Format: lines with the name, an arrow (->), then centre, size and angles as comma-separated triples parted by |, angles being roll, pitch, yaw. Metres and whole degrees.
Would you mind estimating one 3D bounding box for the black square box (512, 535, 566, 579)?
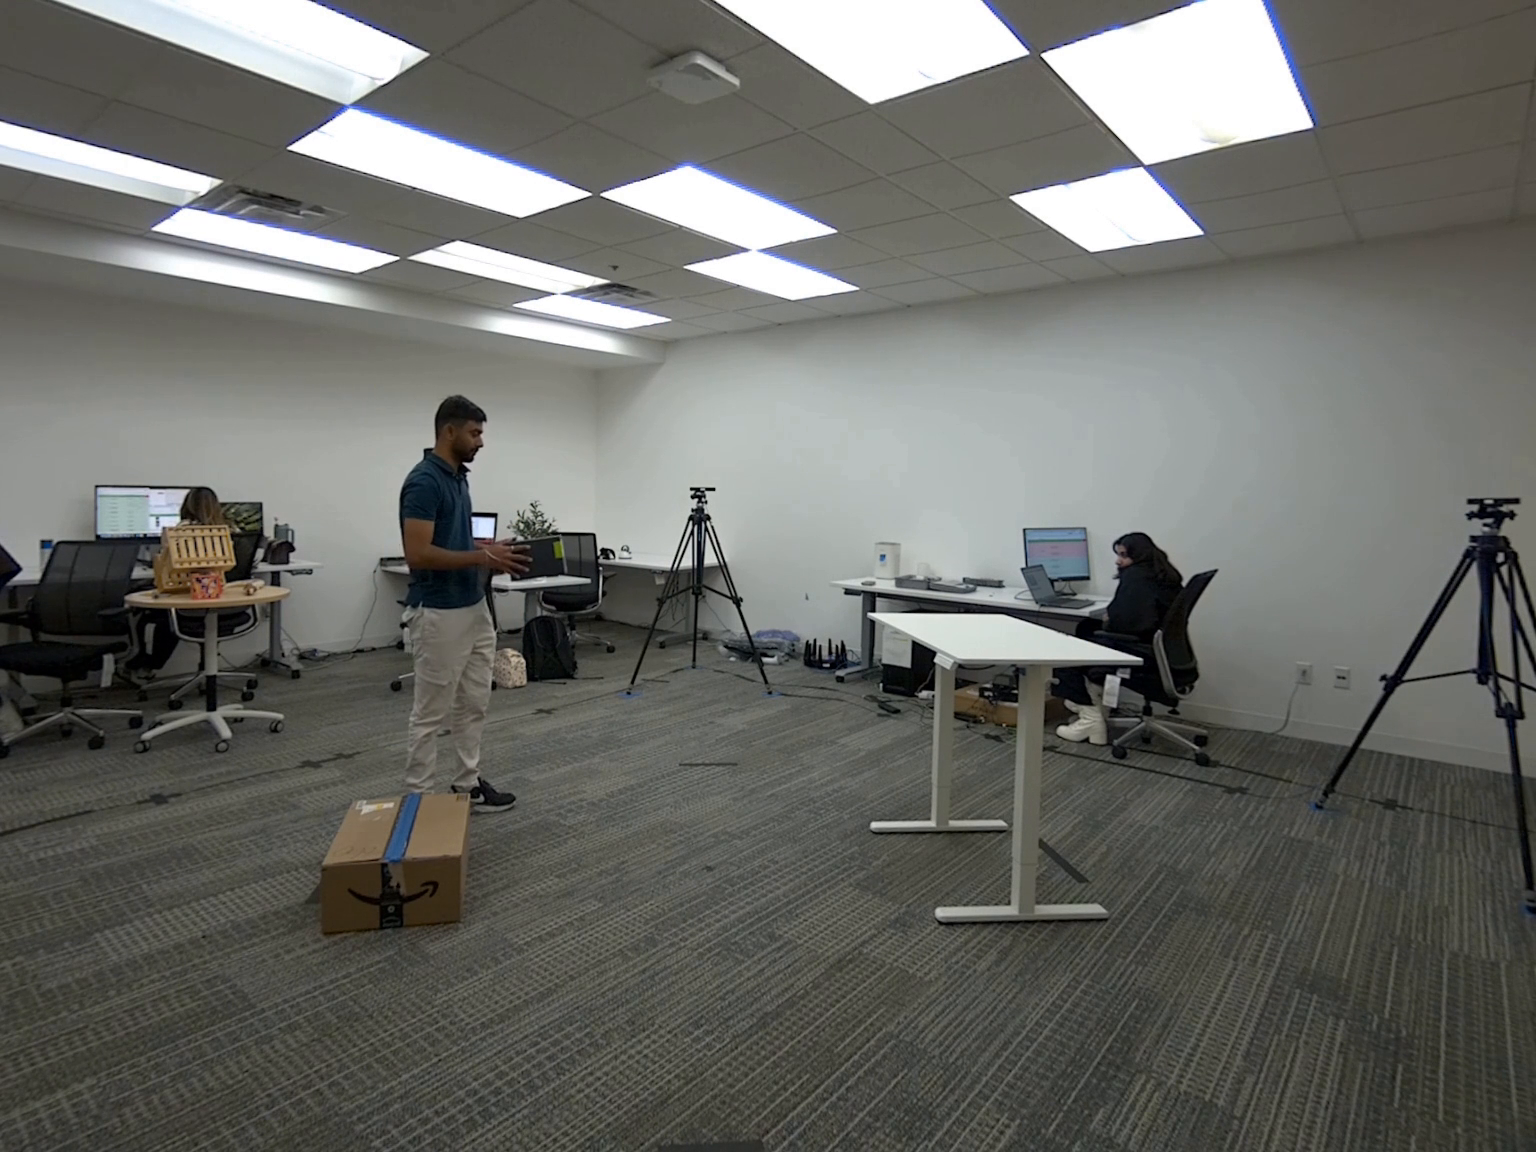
black square box -> -0.975, -0.082, 3.523 | 0.216, 0.155, 0.230 | -5, 5, -6
